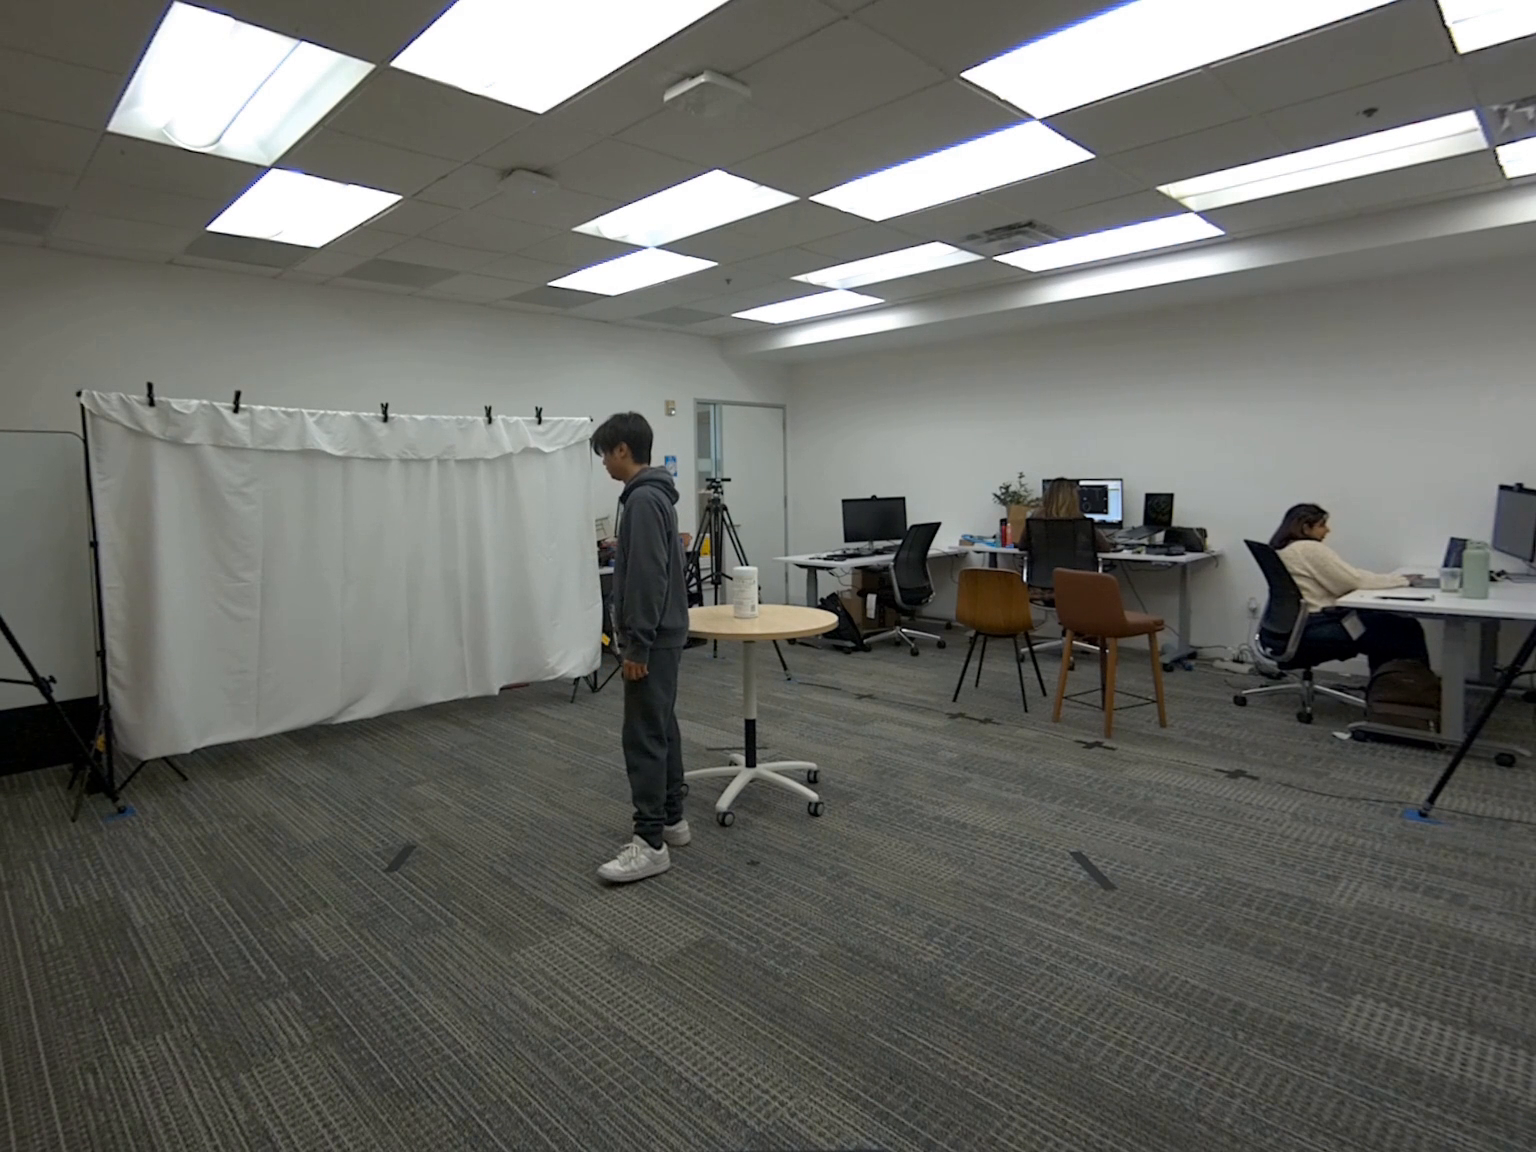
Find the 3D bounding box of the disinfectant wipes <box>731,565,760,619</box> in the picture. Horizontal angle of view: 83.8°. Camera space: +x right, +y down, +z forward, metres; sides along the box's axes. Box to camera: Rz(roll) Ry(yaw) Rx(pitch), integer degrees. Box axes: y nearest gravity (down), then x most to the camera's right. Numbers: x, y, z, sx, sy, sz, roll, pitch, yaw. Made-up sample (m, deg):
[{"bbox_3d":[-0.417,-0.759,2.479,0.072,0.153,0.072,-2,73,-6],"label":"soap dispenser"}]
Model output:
[{"bbox_3d":[-0.093,0.072,3.709,0.118,0.216,0.118,0,6,-2],"label":"disinfectant wipes"}]
